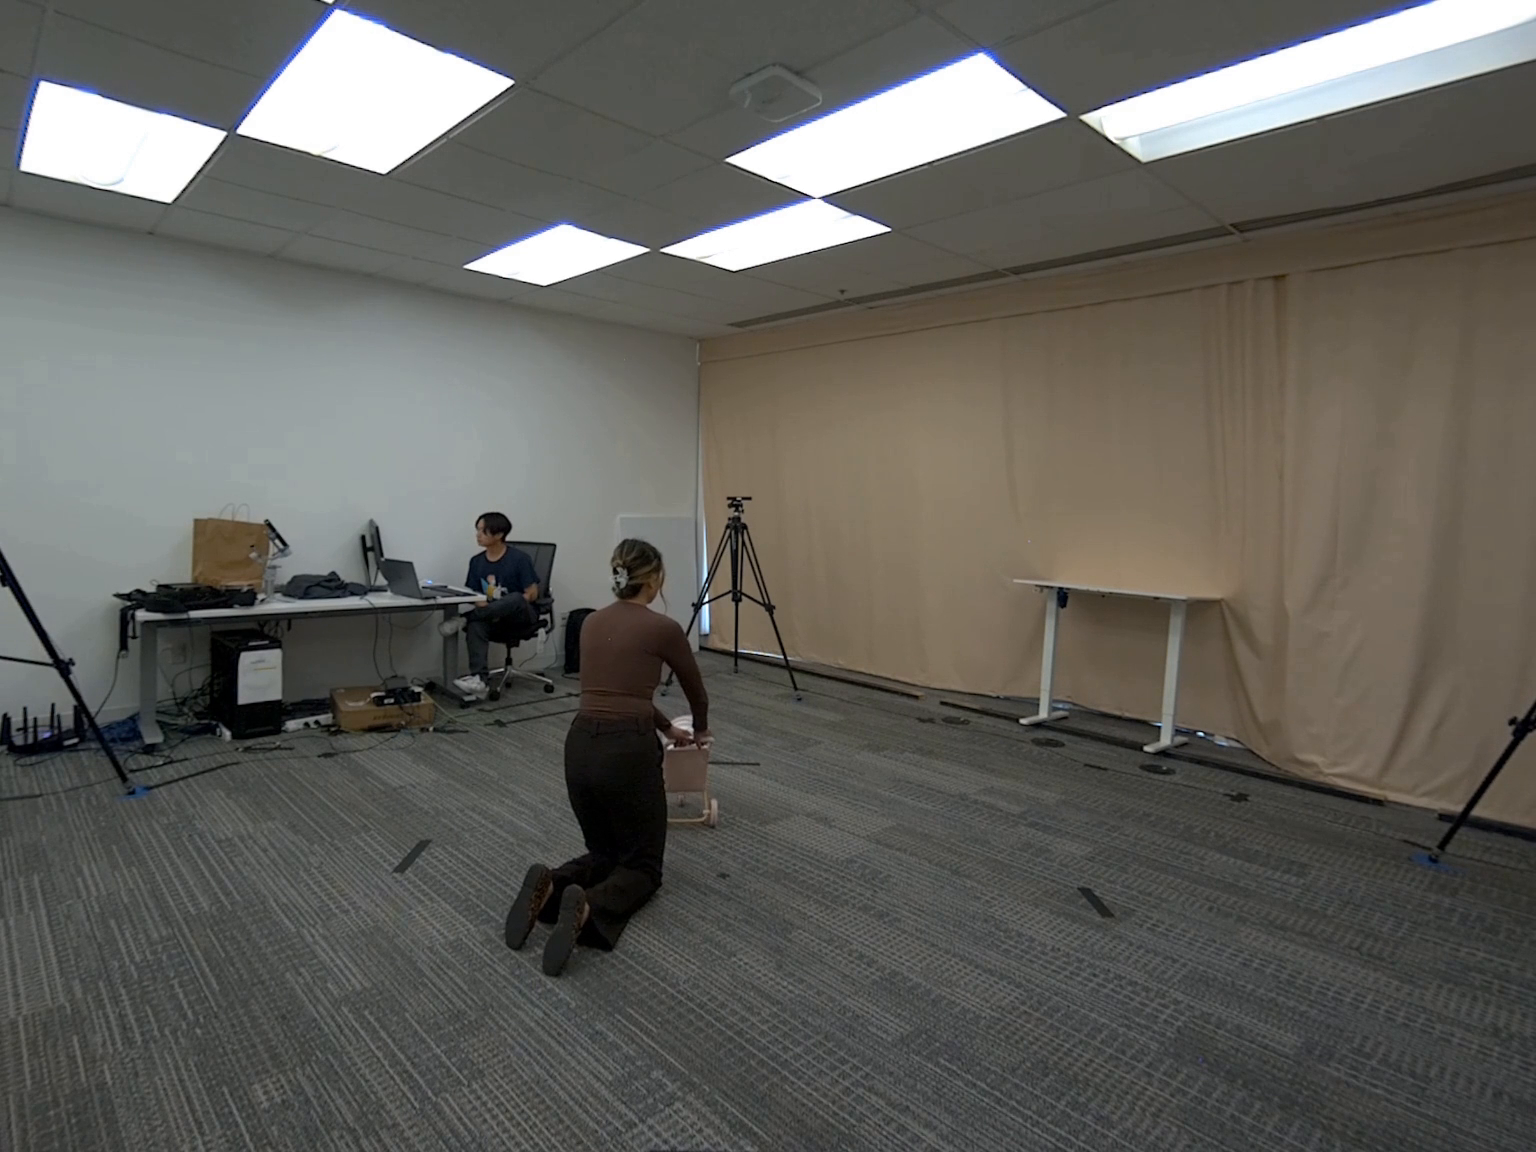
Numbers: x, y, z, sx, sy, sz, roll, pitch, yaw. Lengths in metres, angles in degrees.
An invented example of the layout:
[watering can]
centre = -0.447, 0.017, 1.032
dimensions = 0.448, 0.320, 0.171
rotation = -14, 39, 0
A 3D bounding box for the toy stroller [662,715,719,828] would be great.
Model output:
[toy stroller]
centre = -0.359, 0.832, 3.615
dimensions = 0.280, 0.528, 0.347
rotation = 2, 20, -5
